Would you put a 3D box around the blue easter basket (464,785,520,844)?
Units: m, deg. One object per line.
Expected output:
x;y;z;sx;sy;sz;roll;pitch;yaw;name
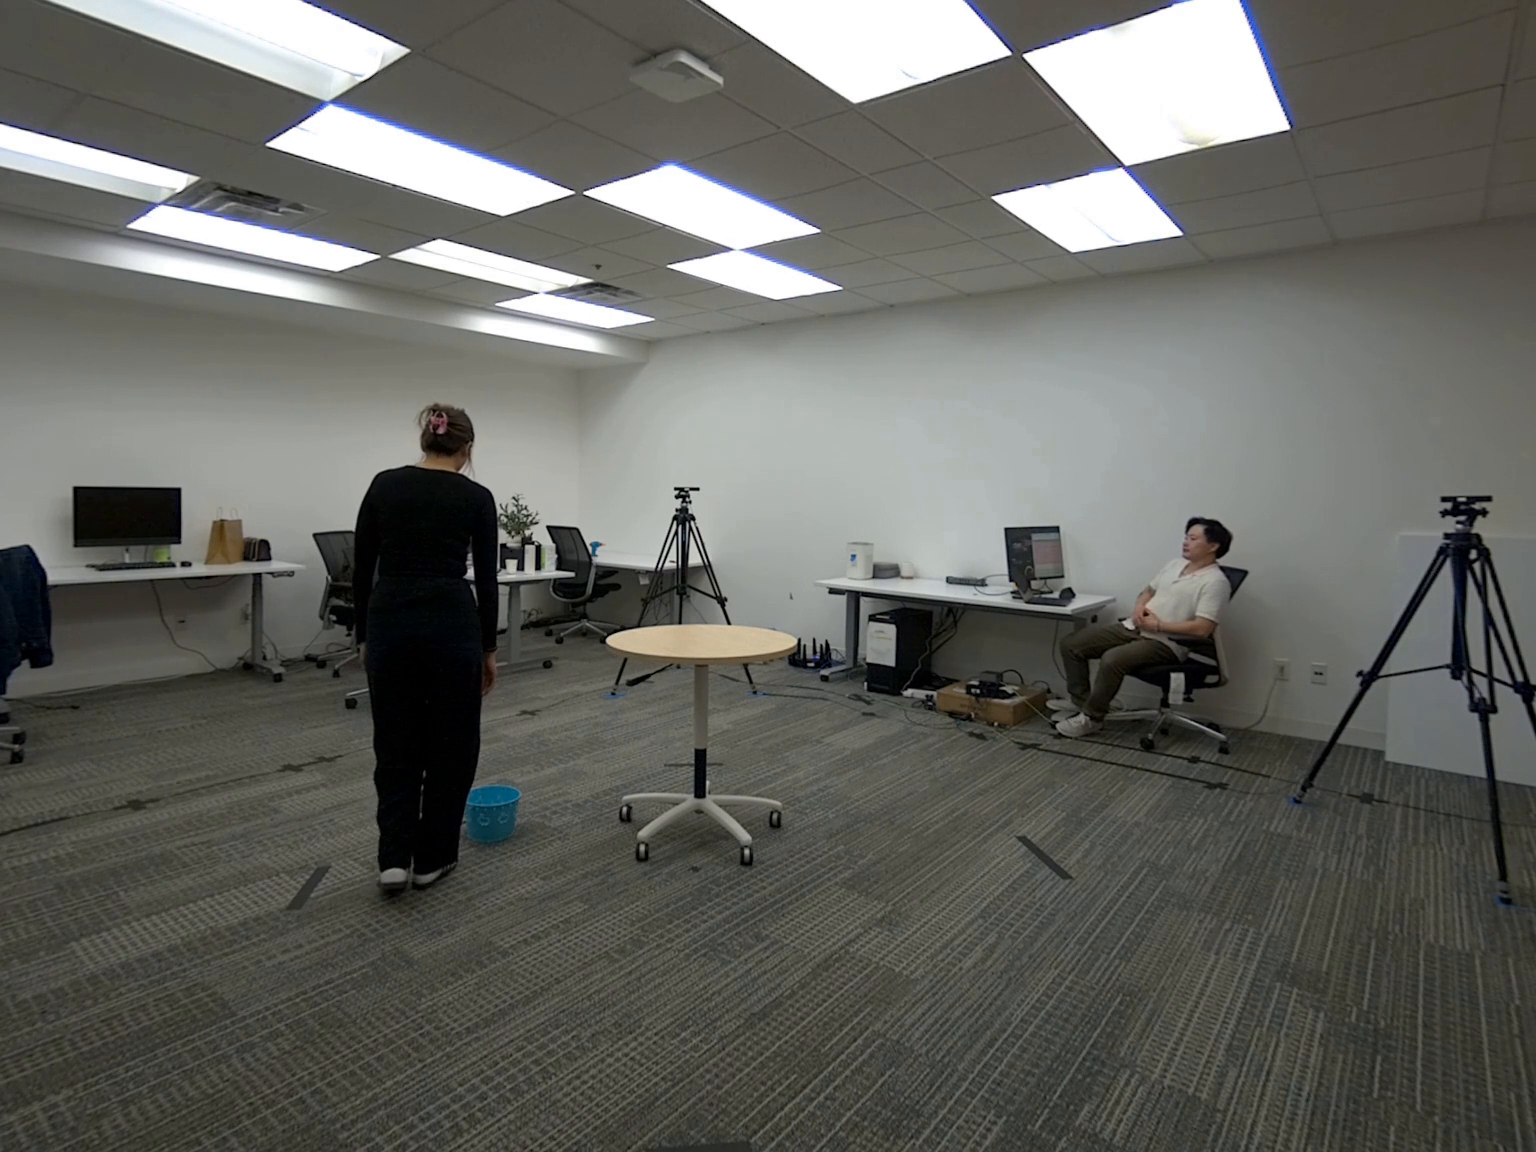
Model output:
-1.123;0.948;3.404;0.243;0.155;0.245;1;5;-2;blue easter basket
